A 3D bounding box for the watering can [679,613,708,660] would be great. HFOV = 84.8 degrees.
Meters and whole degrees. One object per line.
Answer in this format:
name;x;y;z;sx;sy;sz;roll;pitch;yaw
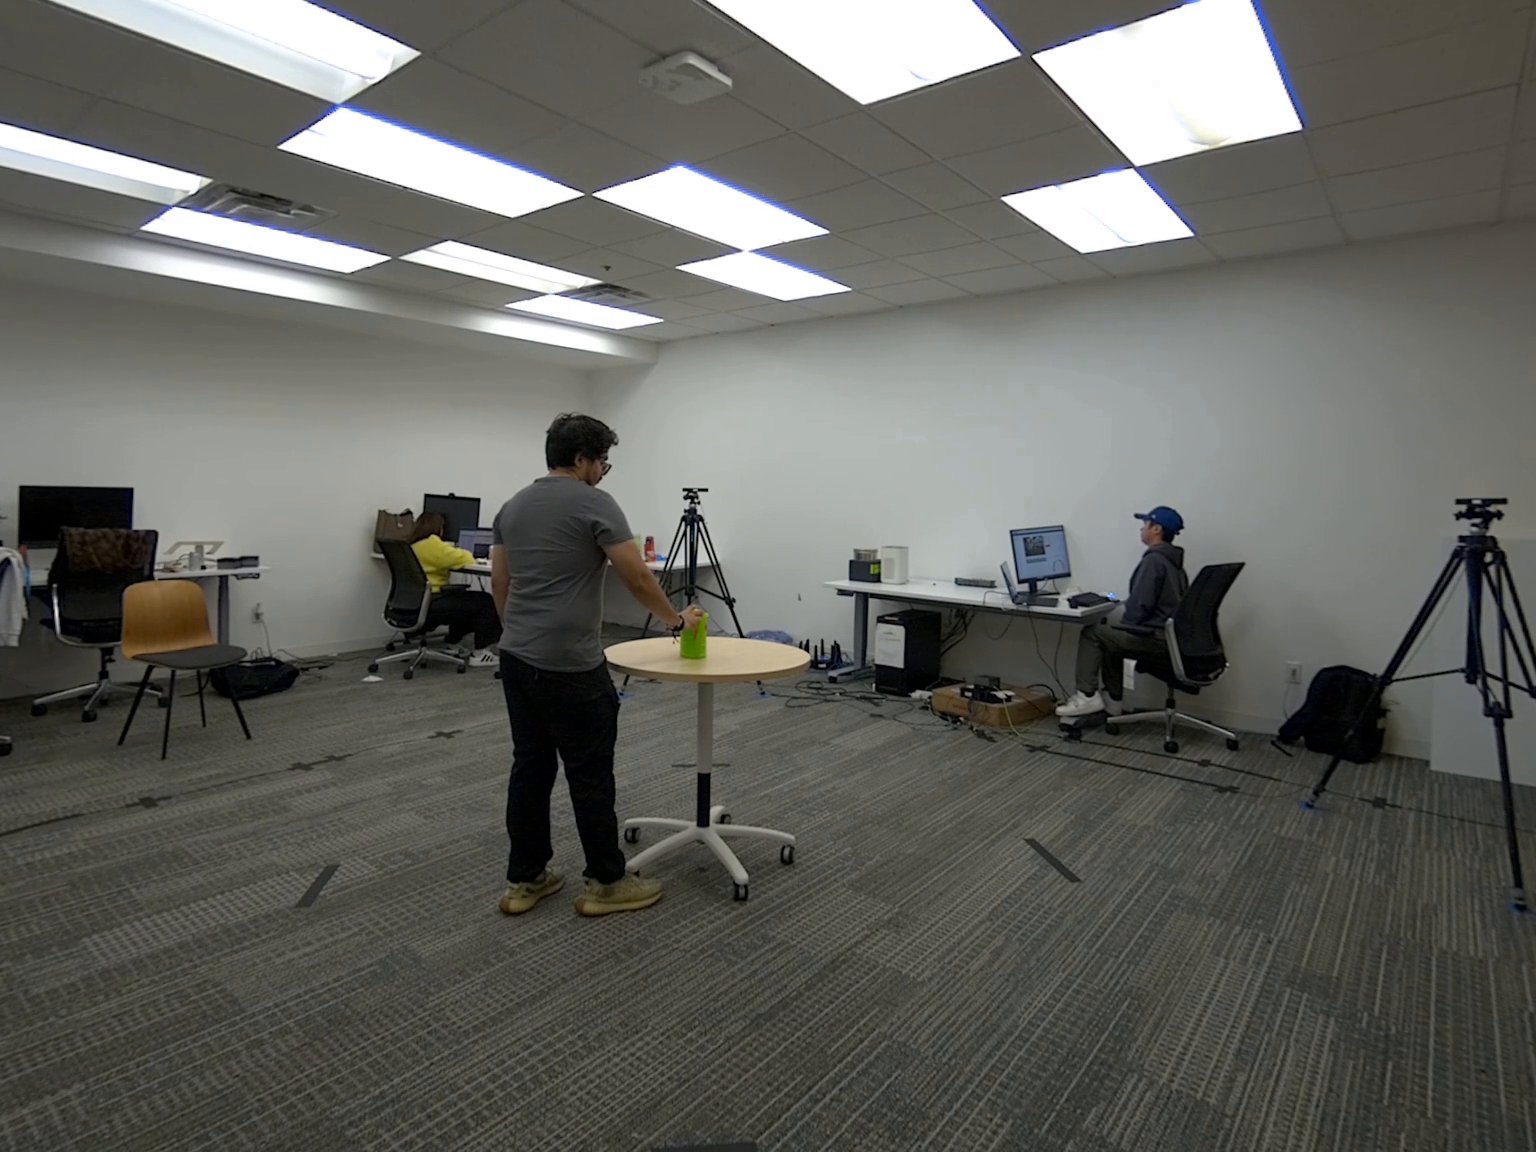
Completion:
watering can;-0.275;0.210;3.037;0.097;0.177;0.281;0;2;-10
